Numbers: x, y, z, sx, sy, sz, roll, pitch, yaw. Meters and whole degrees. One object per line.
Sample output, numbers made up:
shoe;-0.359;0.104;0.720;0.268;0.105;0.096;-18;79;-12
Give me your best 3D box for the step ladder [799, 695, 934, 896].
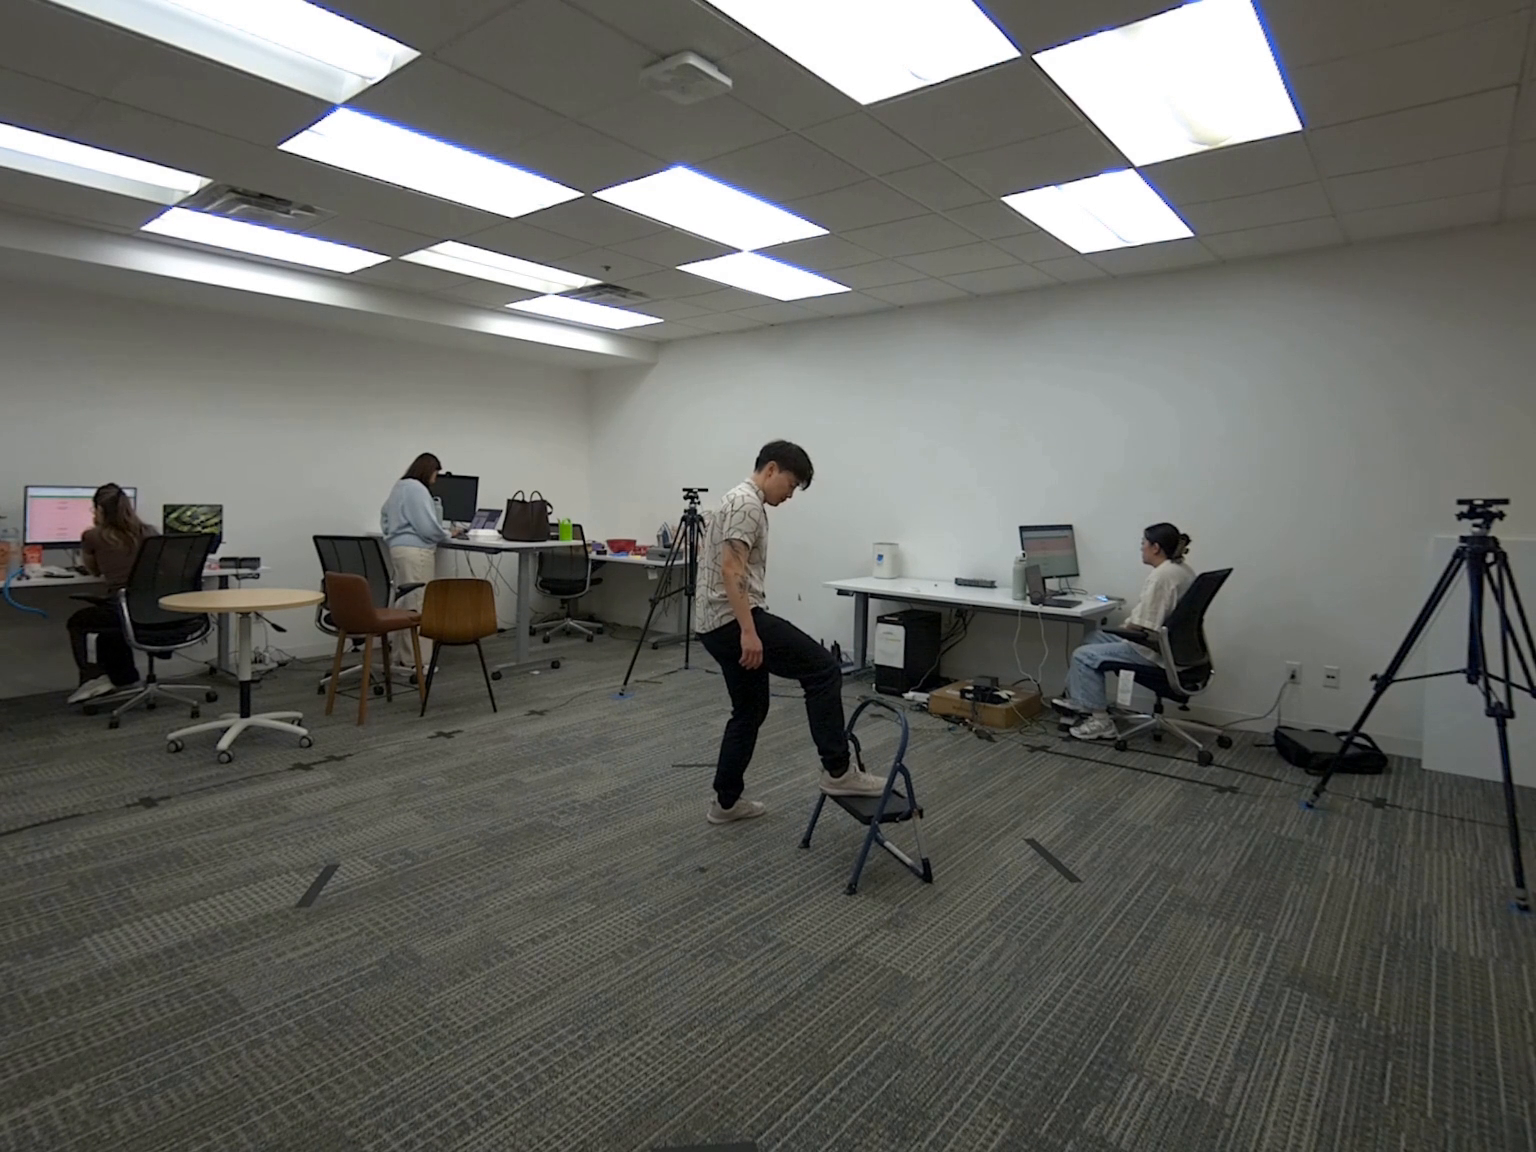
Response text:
step ladder;0.362;0.771;3.173;0.342;0.604;0.441;1;4;-21
